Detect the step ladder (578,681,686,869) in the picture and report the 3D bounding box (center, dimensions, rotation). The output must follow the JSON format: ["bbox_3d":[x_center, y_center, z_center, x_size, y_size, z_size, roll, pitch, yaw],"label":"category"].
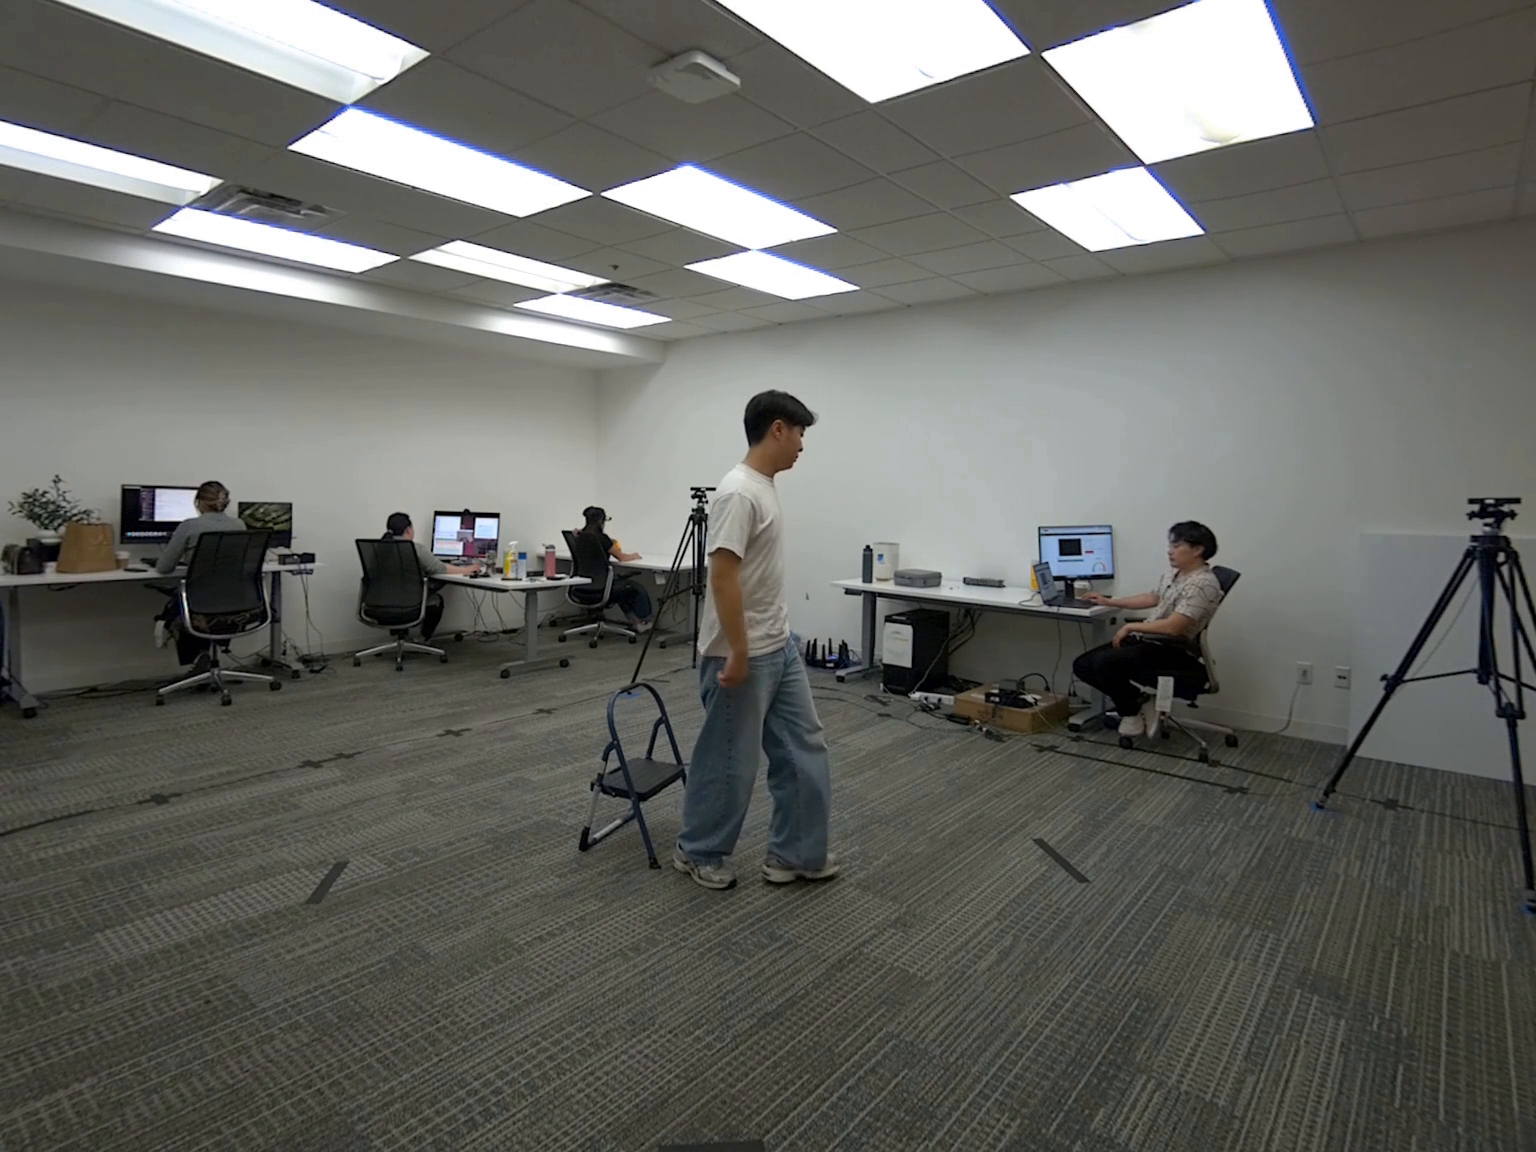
[{"bbox_3d":[-0.494,0.735,3.342,0.358,0.604,0.422,3,4,22],"label":"step ladder"}]
